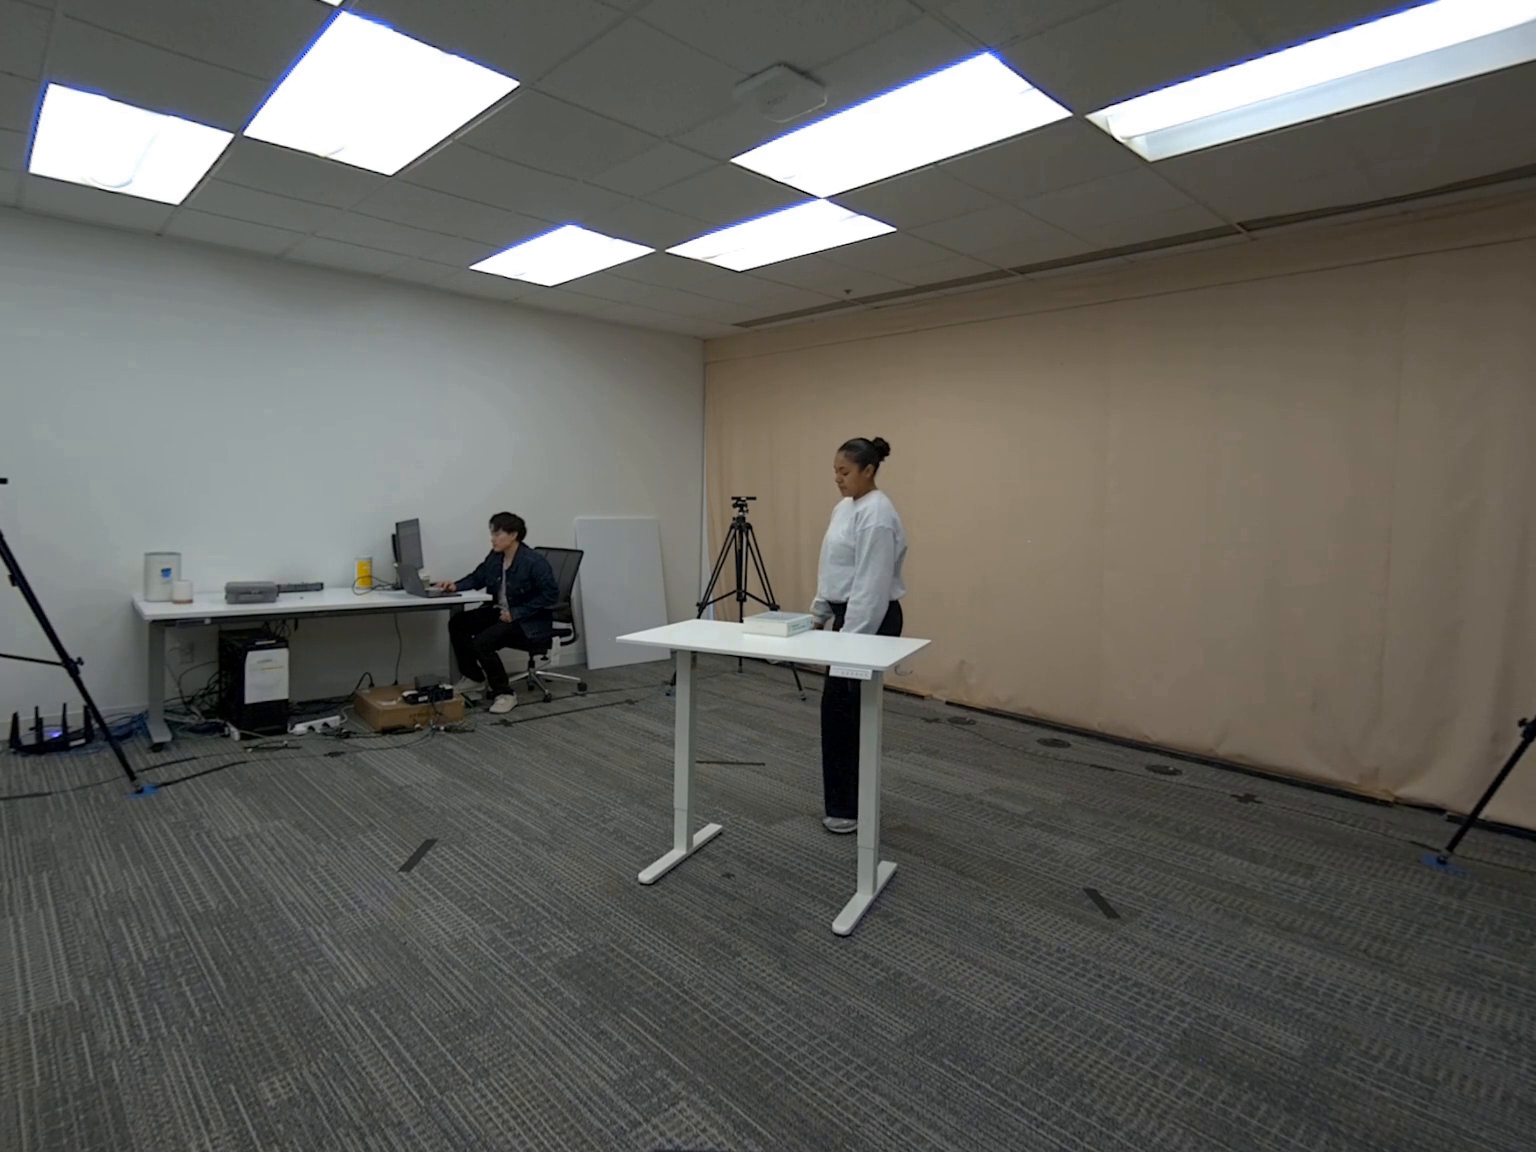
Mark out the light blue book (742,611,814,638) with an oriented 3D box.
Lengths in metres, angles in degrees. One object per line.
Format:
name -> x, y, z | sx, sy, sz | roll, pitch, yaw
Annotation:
light blue book -> 0.037, 0.188, 3.272 | 0.195, 0.059, 0.256 | 3, 5, 28
